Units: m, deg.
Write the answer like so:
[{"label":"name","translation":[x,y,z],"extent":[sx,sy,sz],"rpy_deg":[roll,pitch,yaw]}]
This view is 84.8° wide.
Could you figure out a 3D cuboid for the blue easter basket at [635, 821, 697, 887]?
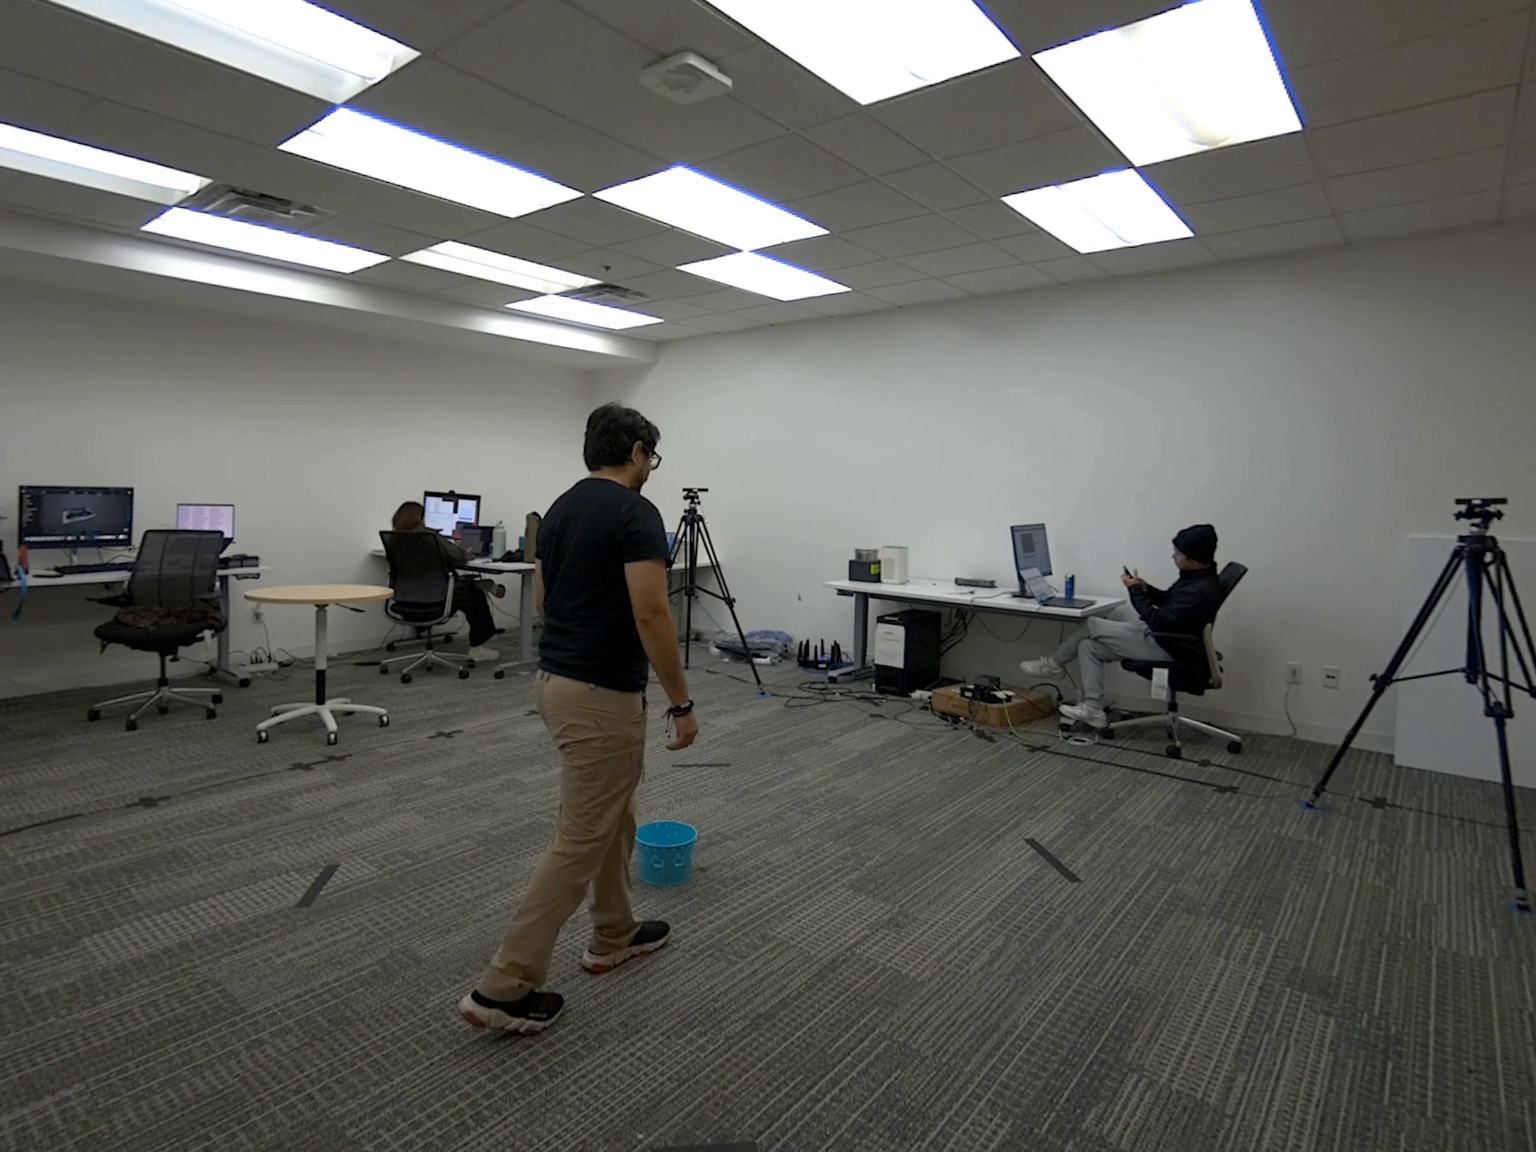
[{"label":"blue easter basket","translation":[-0.373,0.990,3.064],"extent":[0.243,0.155,0.245],"rpy_deg":[1,4,-2]}]
